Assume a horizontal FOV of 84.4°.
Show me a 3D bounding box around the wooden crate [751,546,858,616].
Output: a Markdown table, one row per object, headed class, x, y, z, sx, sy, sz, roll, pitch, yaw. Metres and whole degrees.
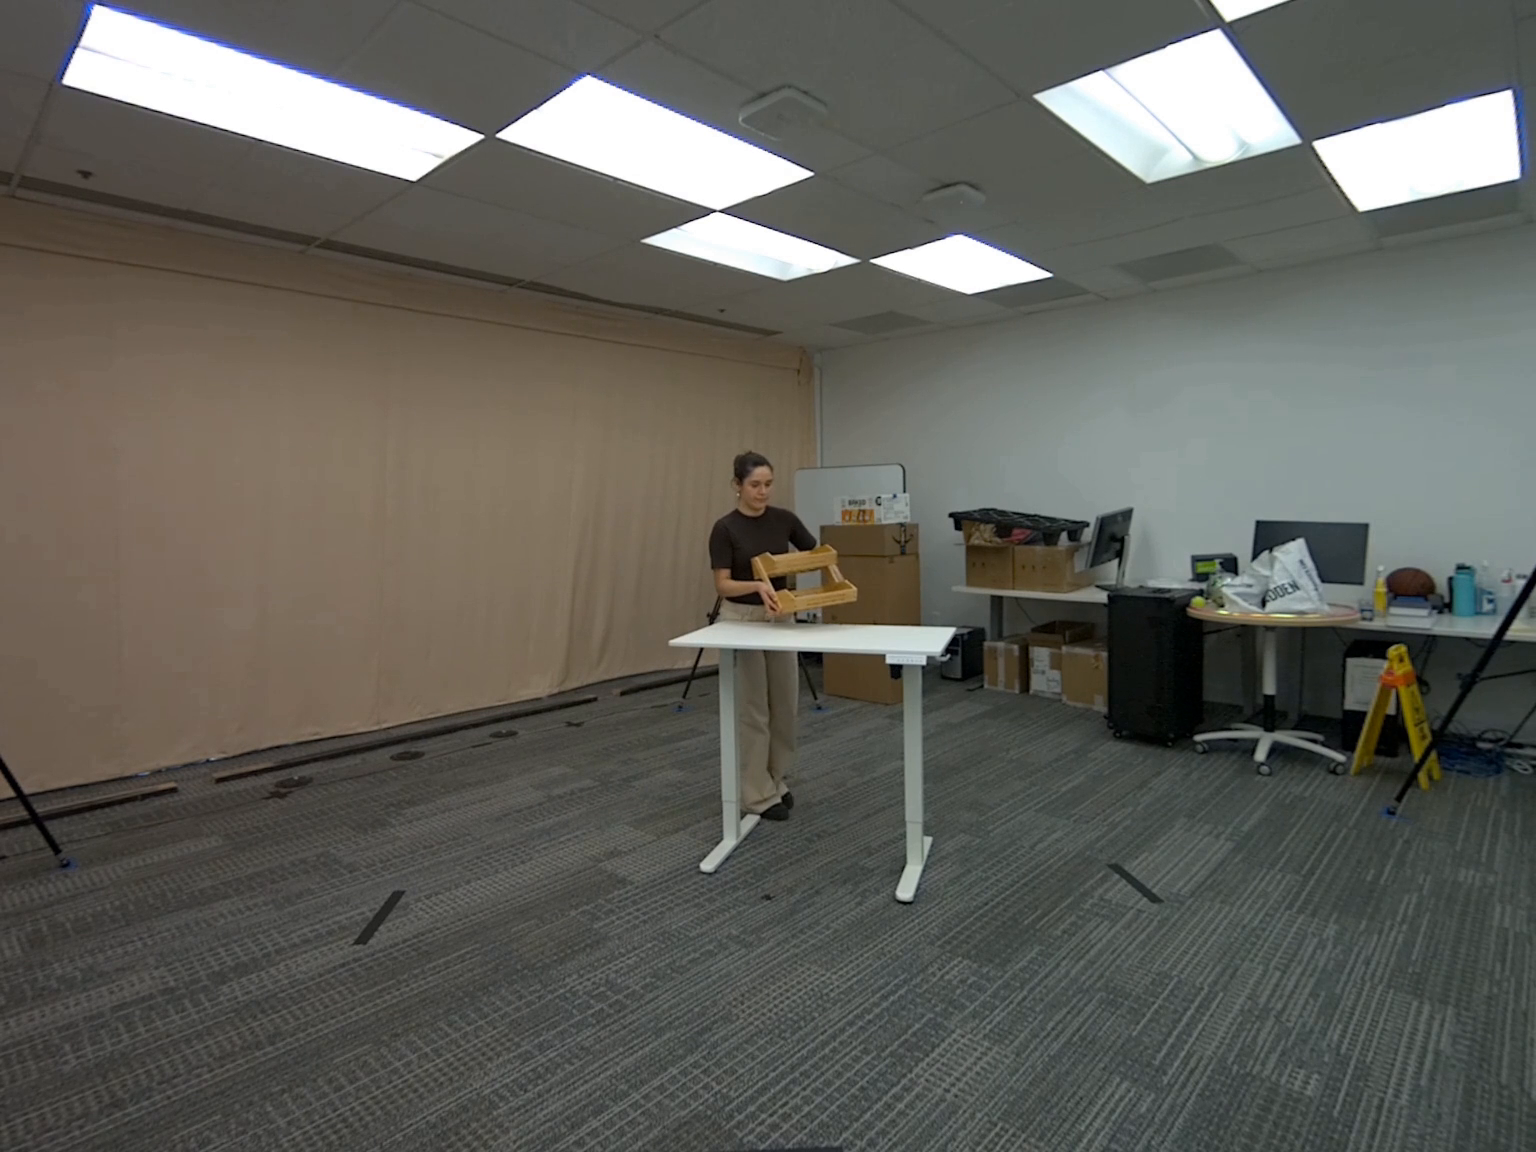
| class | x | y | z | sx | sy | sz | roll | pitch | yaw |
| --- | --- | --- | --- | --- | --- | --- | --- | --- | --- |
| wooden crate | 0.157 | 0.011 | 3.544 | 0.317 | 0.275 | 0.307 | -8 | -6 | -26 |
